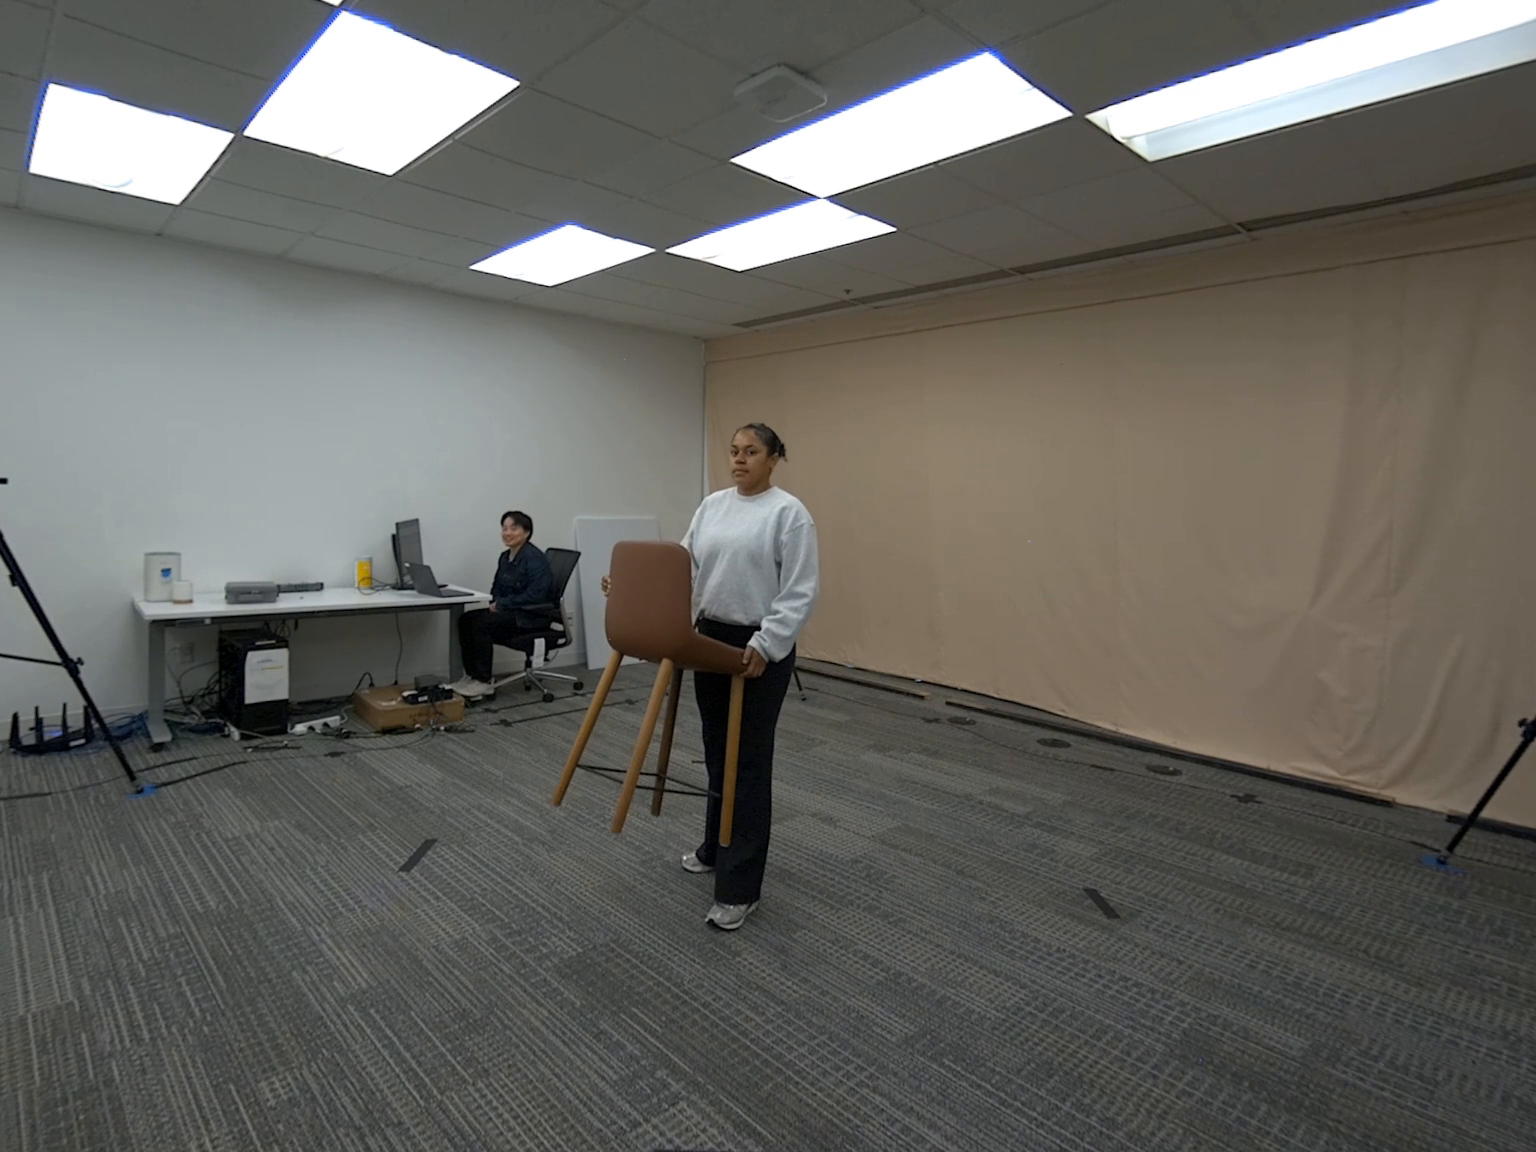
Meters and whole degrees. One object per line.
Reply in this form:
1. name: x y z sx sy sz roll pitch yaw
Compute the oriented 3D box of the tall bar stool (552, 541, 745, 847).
1. tall bar stool: -0.336 0.373 2.761 0.454 0.895 0.467 19 -12 -41
